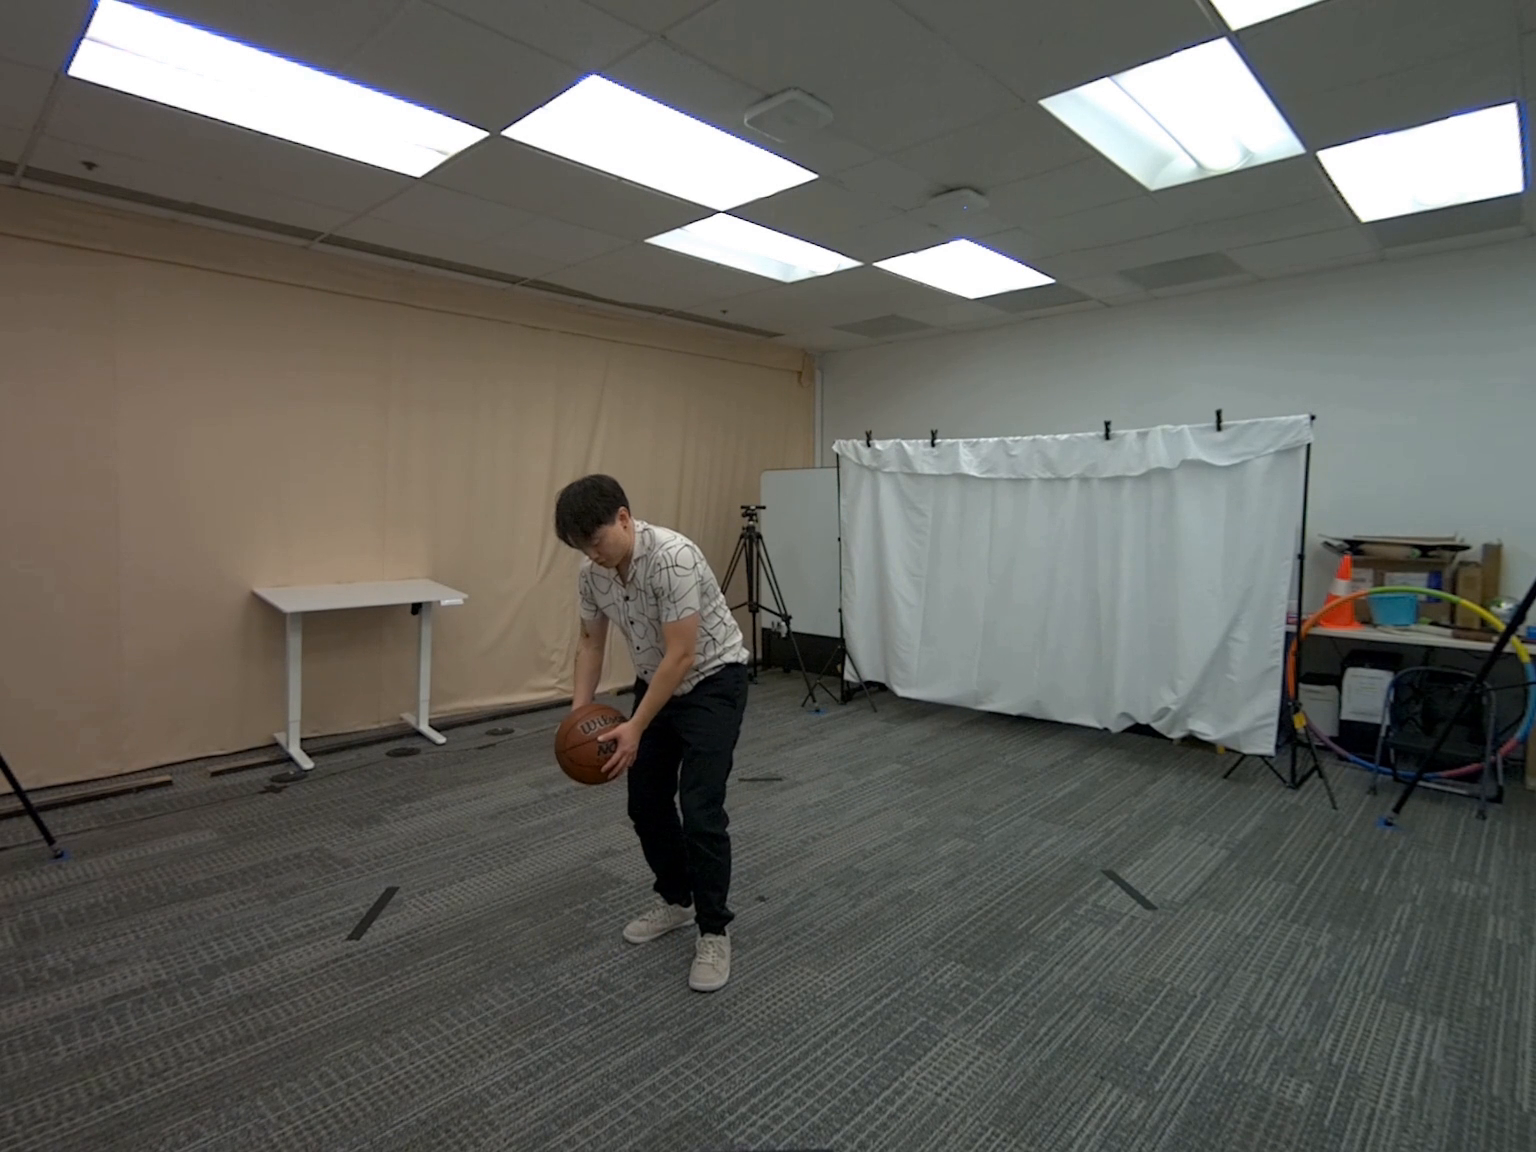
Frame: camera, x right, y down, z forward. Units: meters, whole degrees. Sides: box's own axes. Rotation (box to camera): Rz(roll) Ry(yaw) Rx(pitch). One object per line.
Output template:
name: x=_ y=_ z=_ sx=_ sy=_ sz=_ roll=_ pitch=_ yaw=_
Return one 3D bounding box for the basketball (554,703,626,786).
basketball: x=-0.515 y=0.509 z=2.531 sx=0.236 sy=0.235 sz=0.237 roll=0 pitch=4 yaw=-2
